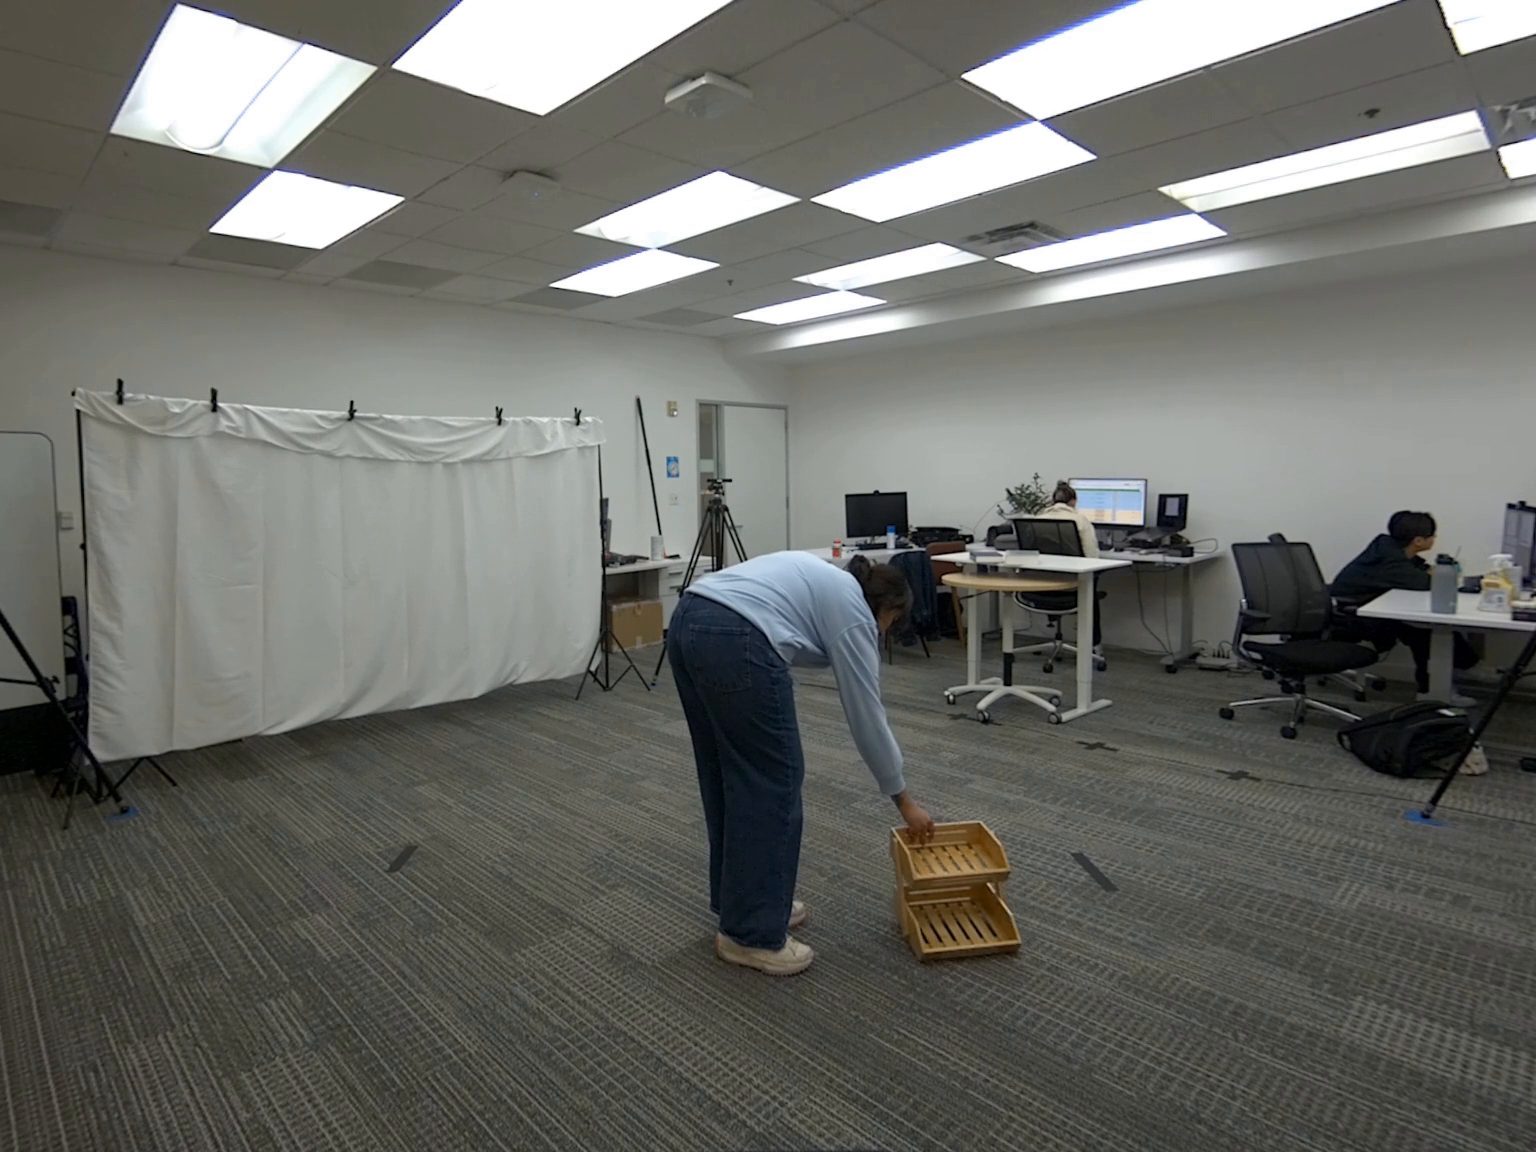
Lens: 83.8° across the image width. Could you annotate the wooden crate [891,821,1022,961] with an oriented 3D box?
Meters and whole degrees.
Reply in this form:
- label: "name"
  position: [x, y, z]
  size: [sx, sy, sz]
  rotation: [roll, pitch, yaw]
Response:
- label: "wooden crate"
  position: [0.569, 0.946, 2.571]
  size: [0.322, 0.271, 0.308]
  rotation: [-2, 11, -10]
